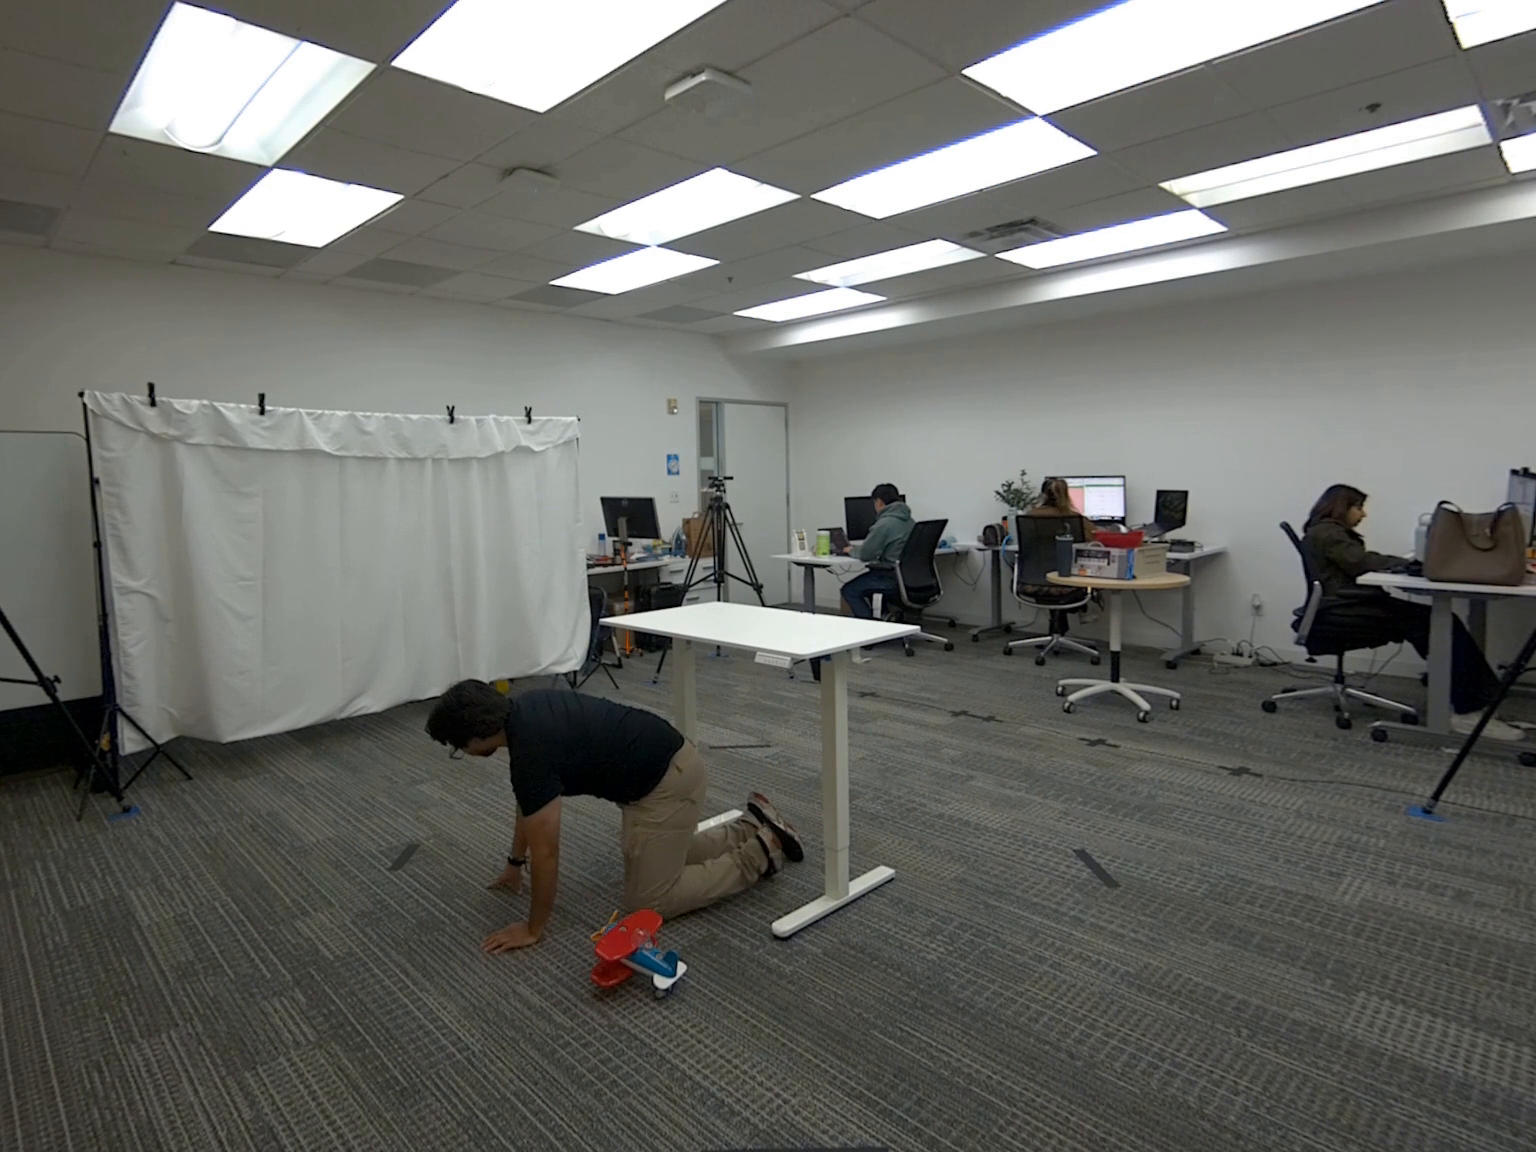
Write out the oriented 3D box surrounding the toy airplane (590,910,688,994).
[{"bbox_3d":[-0.350,1.068,2.383,0.260,0.156,0.251,-2,5,3],"label":"toy airplane"}]
